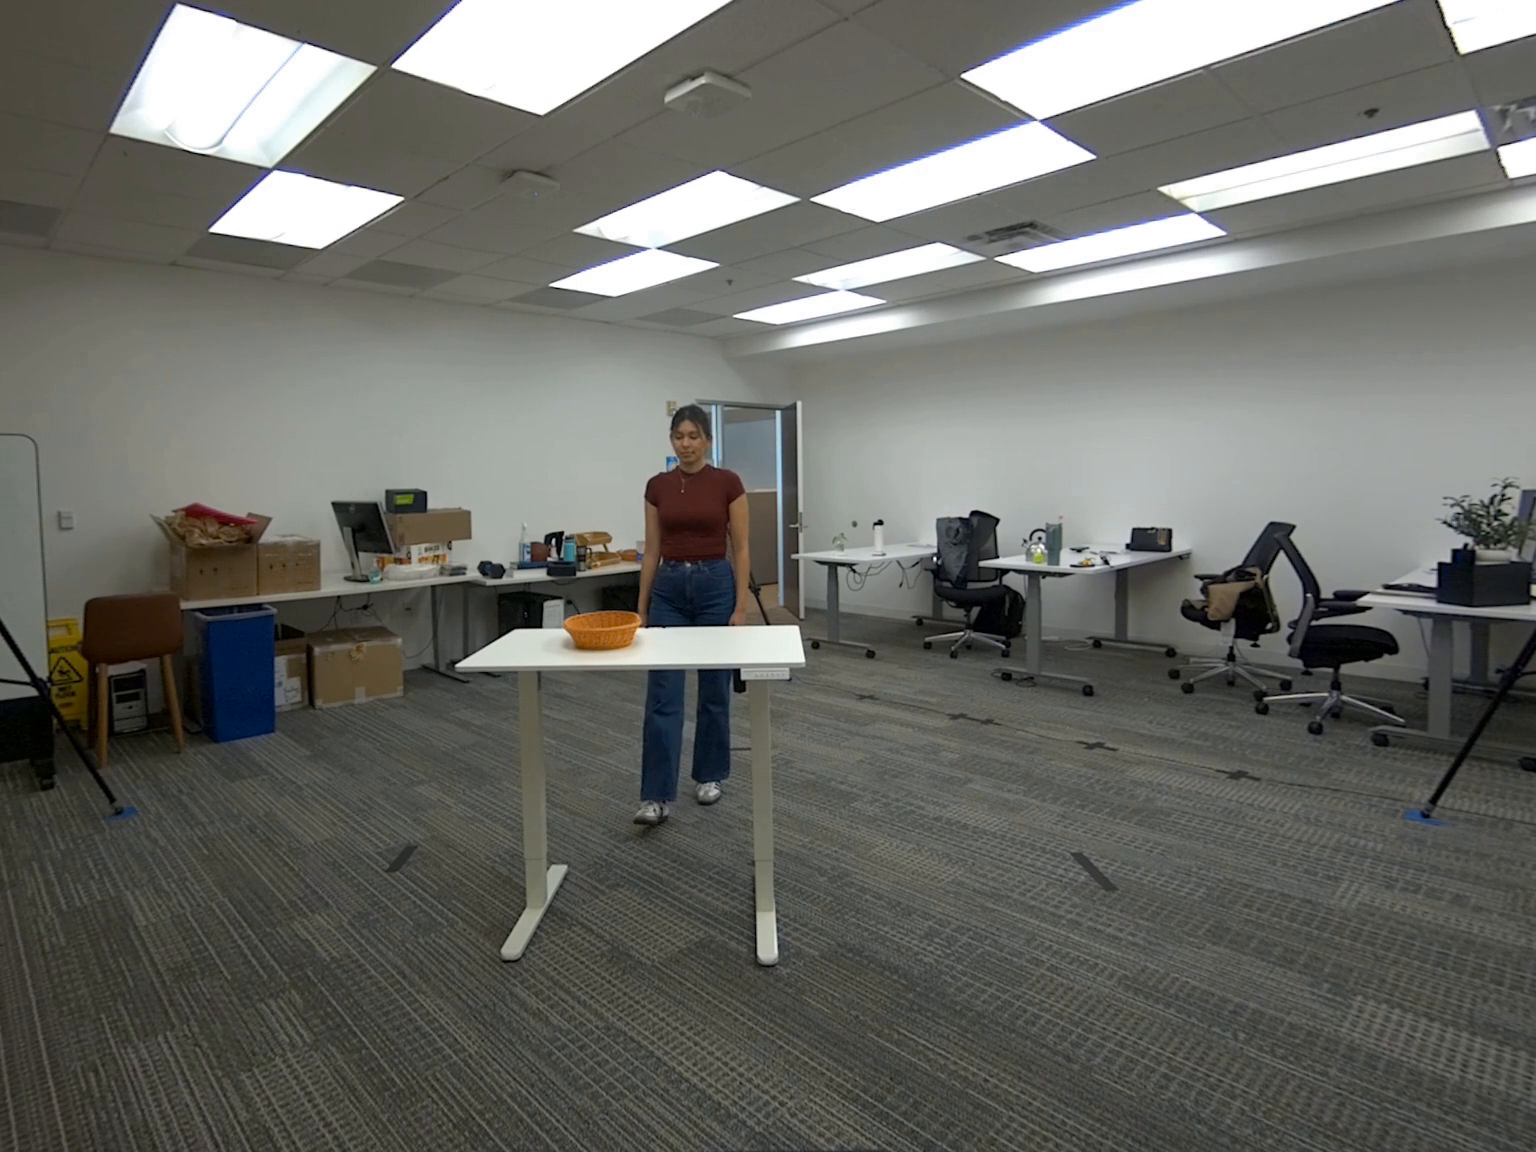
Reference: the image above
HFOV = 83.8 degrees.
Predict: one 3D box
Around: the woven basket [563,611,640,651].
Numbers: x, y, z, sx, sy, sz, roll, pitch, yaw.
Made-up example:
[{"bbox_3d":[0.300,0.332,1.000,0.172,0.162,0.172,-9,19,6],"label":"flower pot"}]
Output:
[{"bbox_3d":[-0.540,0.184,2.759,0.252,0.073,0.353,-3,6,-4],"label":"woven basket"}]
